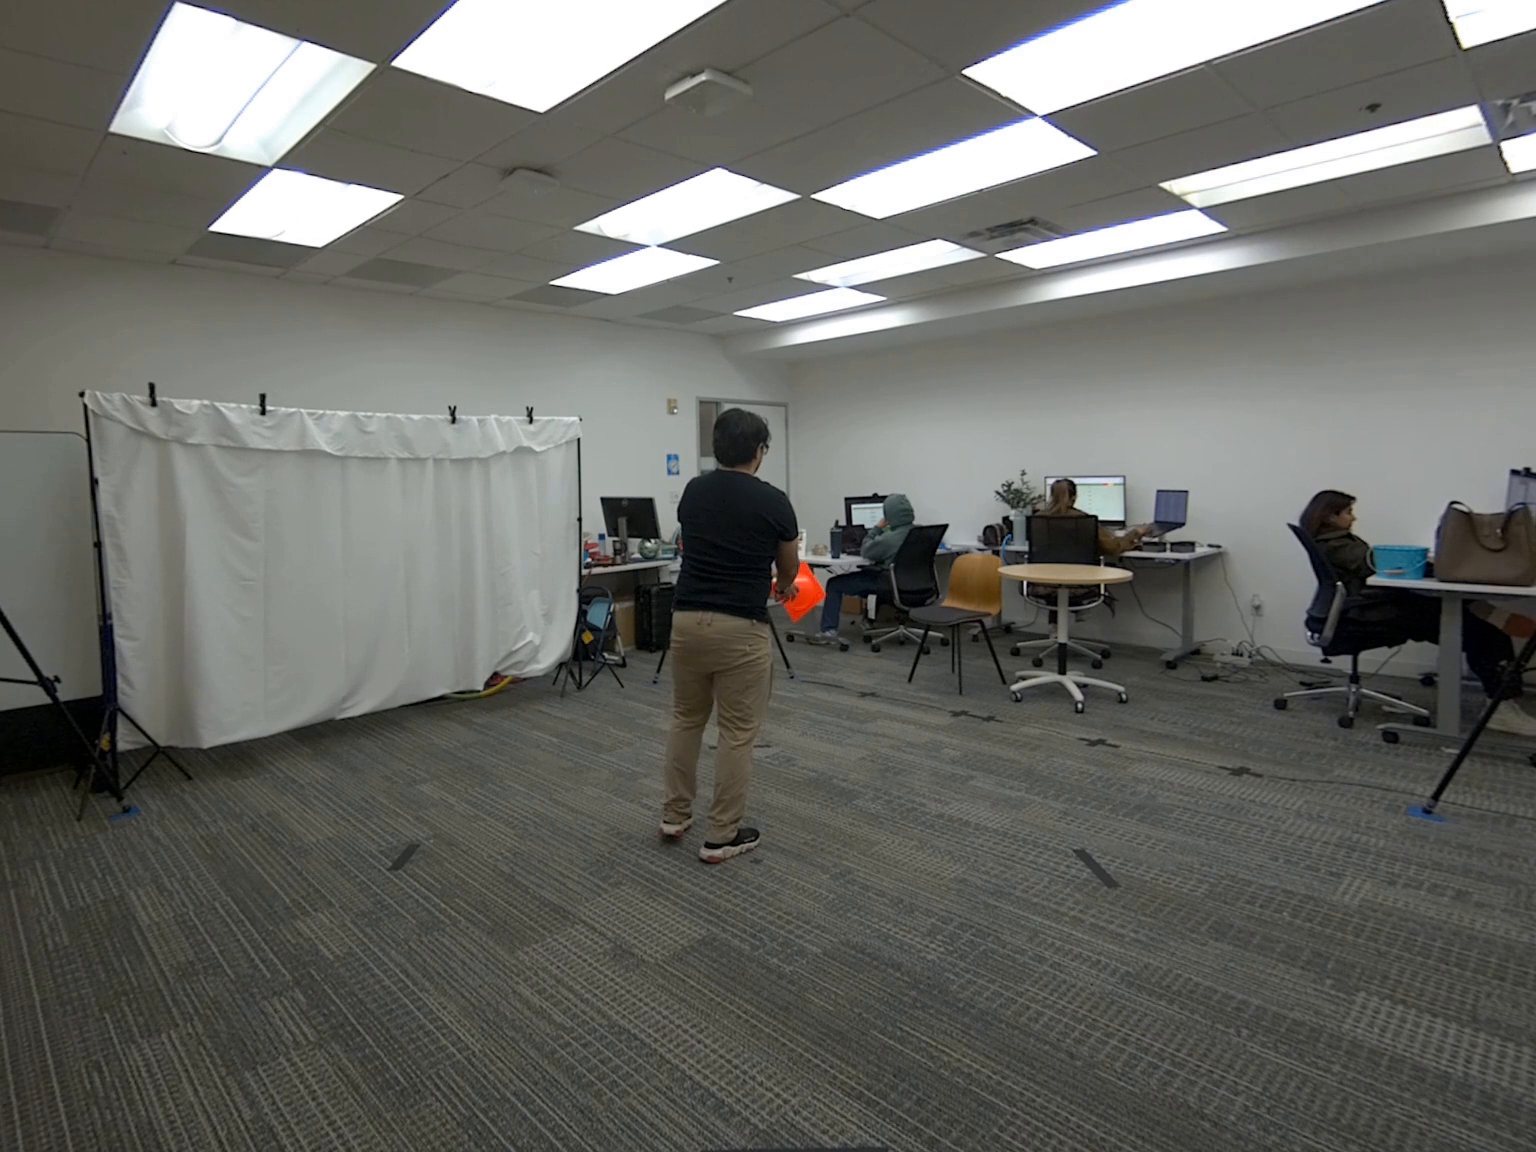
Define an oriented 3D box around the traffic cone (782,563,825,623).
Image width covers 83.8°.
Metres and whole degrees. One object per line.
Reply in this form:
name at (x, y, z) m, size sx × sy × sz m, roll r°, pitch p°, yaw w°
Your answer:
traffic cone at (0.033, 0.056, 3.614) m, size 0.205 × 0.210 × 0.371 m, roll -43°, pitch -28°, yaw 24°
